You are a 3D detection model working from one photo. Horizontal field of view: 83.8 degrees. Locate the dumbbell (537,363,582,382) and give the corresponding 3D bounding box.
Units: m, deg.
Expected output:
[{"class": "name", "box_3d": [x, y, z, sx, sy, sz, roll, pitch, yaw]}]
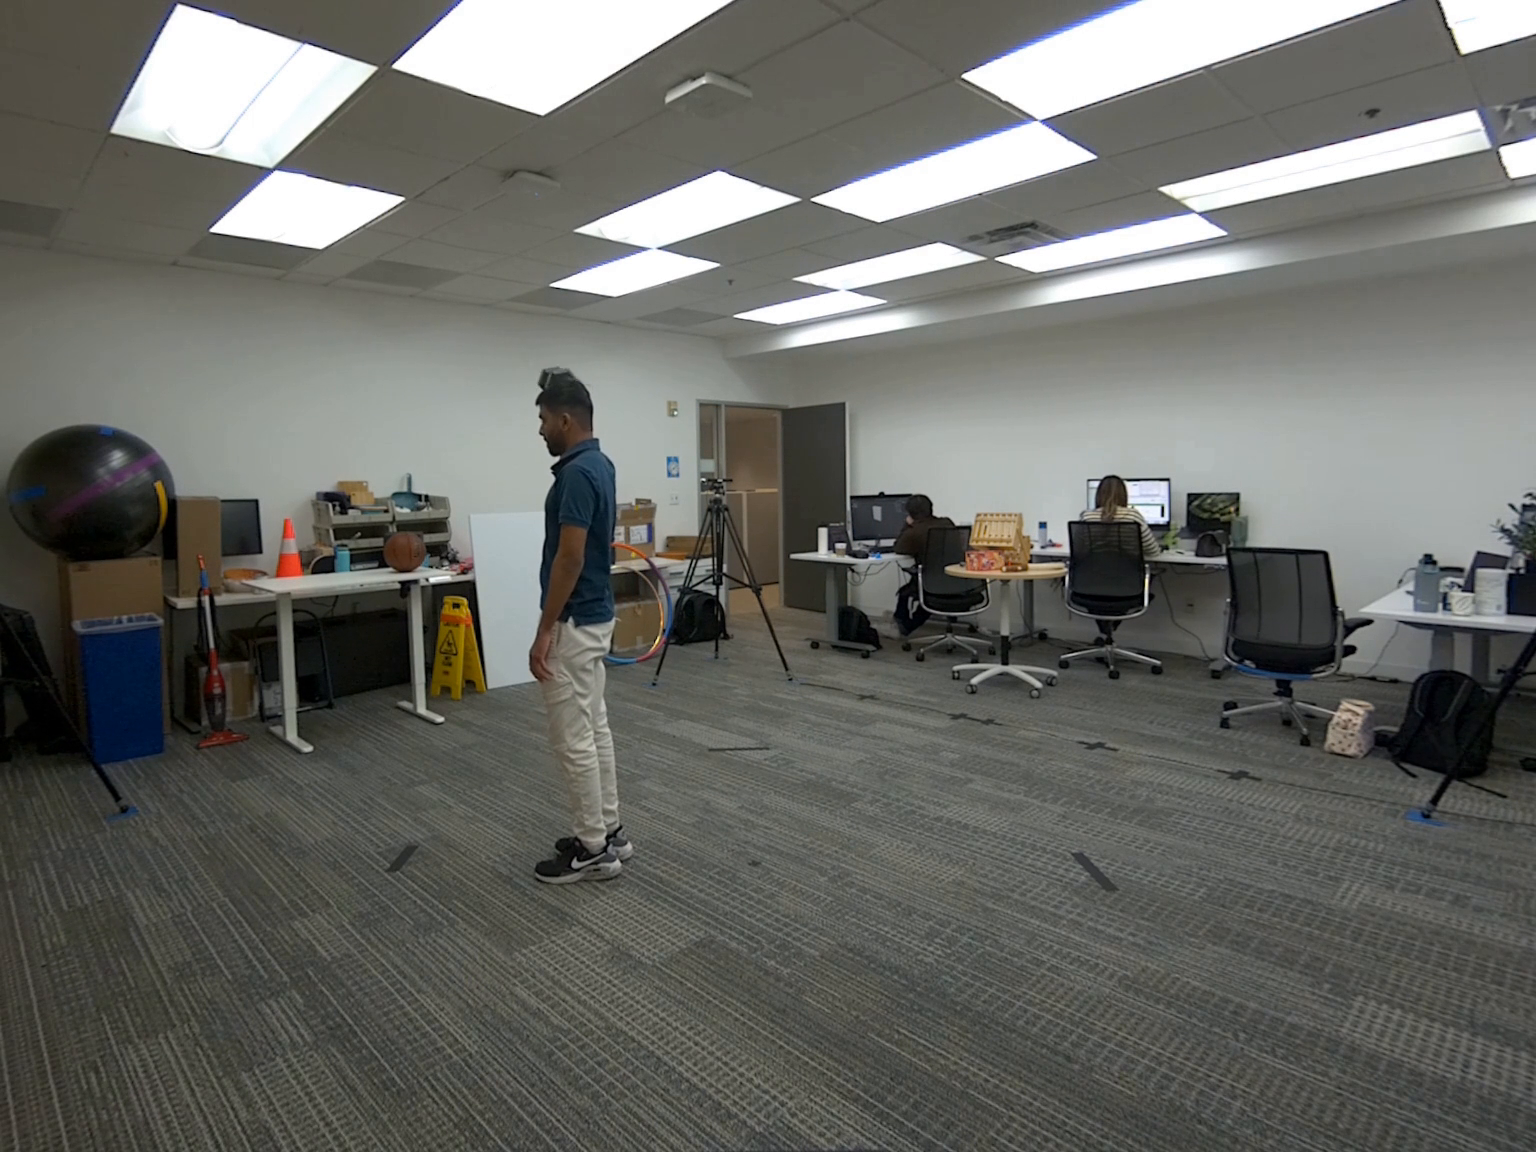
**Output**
[{"class": "dumbbell", "box_3d": [-0.796, -0.744, 3.267, 0.121, 0.107, 0.302, -12, 18, -16]}]
